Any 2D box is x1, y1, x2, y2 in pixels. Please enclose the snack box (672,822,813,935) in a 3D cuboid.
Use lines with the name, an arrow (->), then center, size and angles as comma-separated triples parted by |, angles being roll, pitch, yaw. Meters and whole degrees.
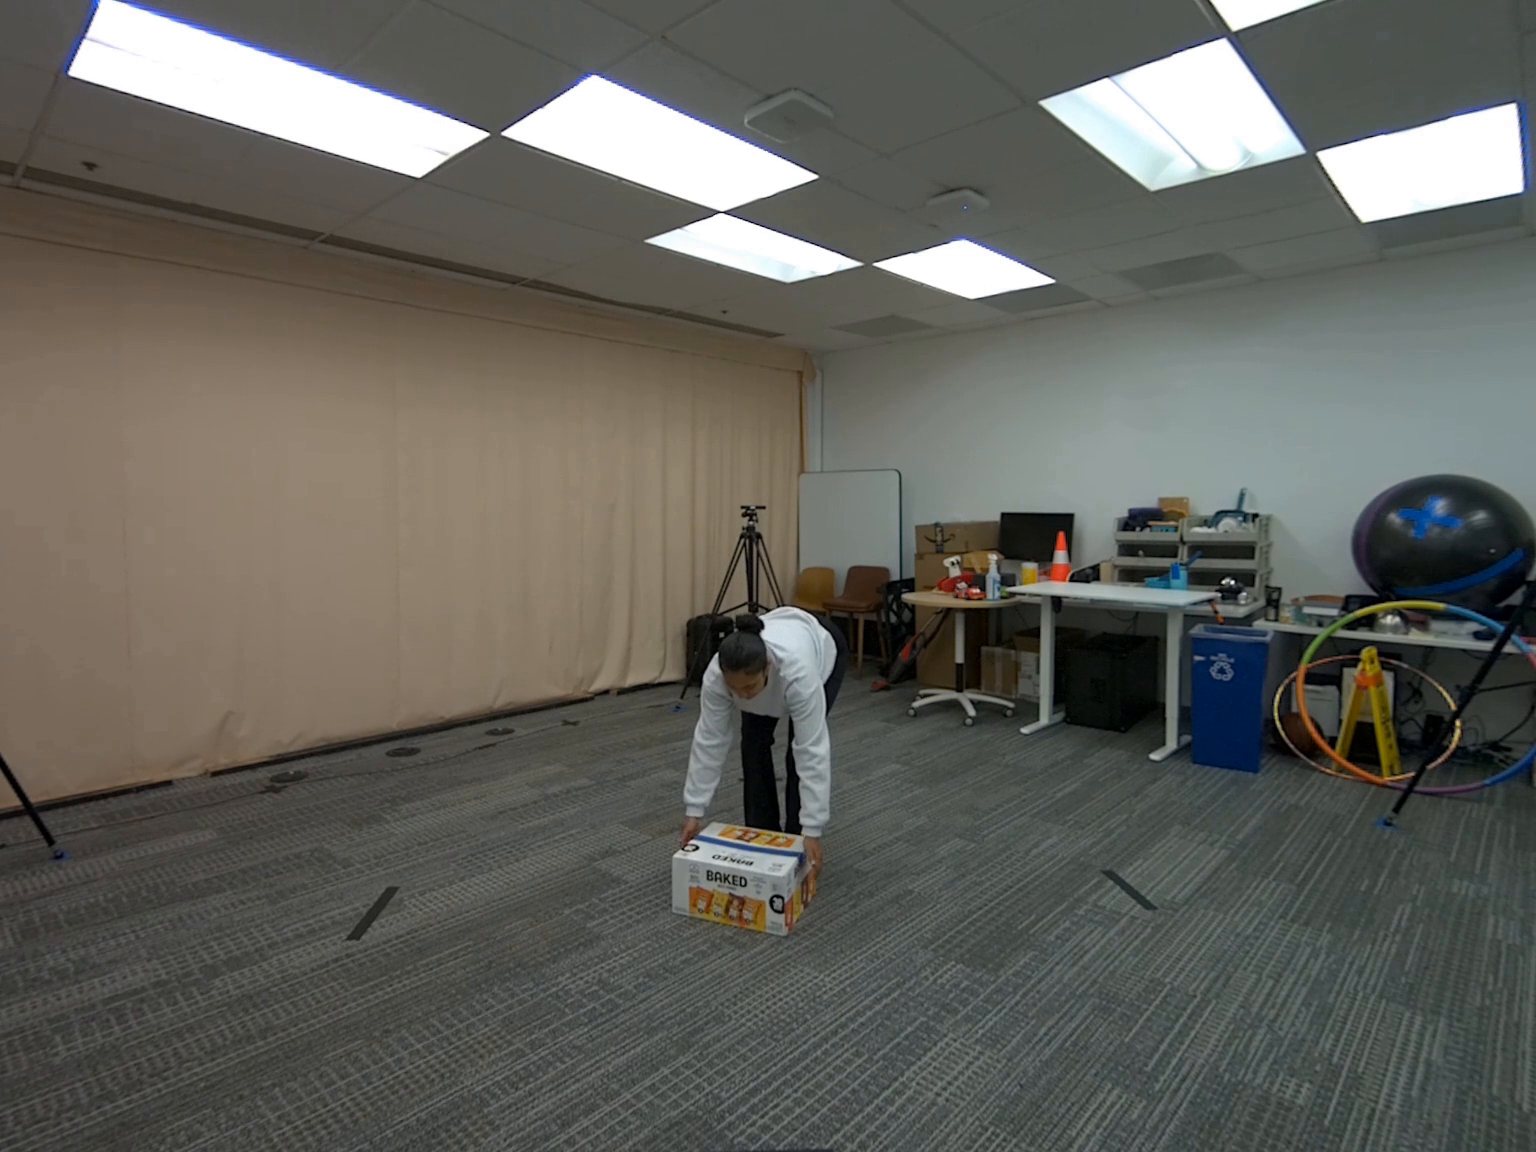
snack box -> -0.076, 1.045, 2.939 | 0.415, 0.205, 0.333 | 2, 4, 22
